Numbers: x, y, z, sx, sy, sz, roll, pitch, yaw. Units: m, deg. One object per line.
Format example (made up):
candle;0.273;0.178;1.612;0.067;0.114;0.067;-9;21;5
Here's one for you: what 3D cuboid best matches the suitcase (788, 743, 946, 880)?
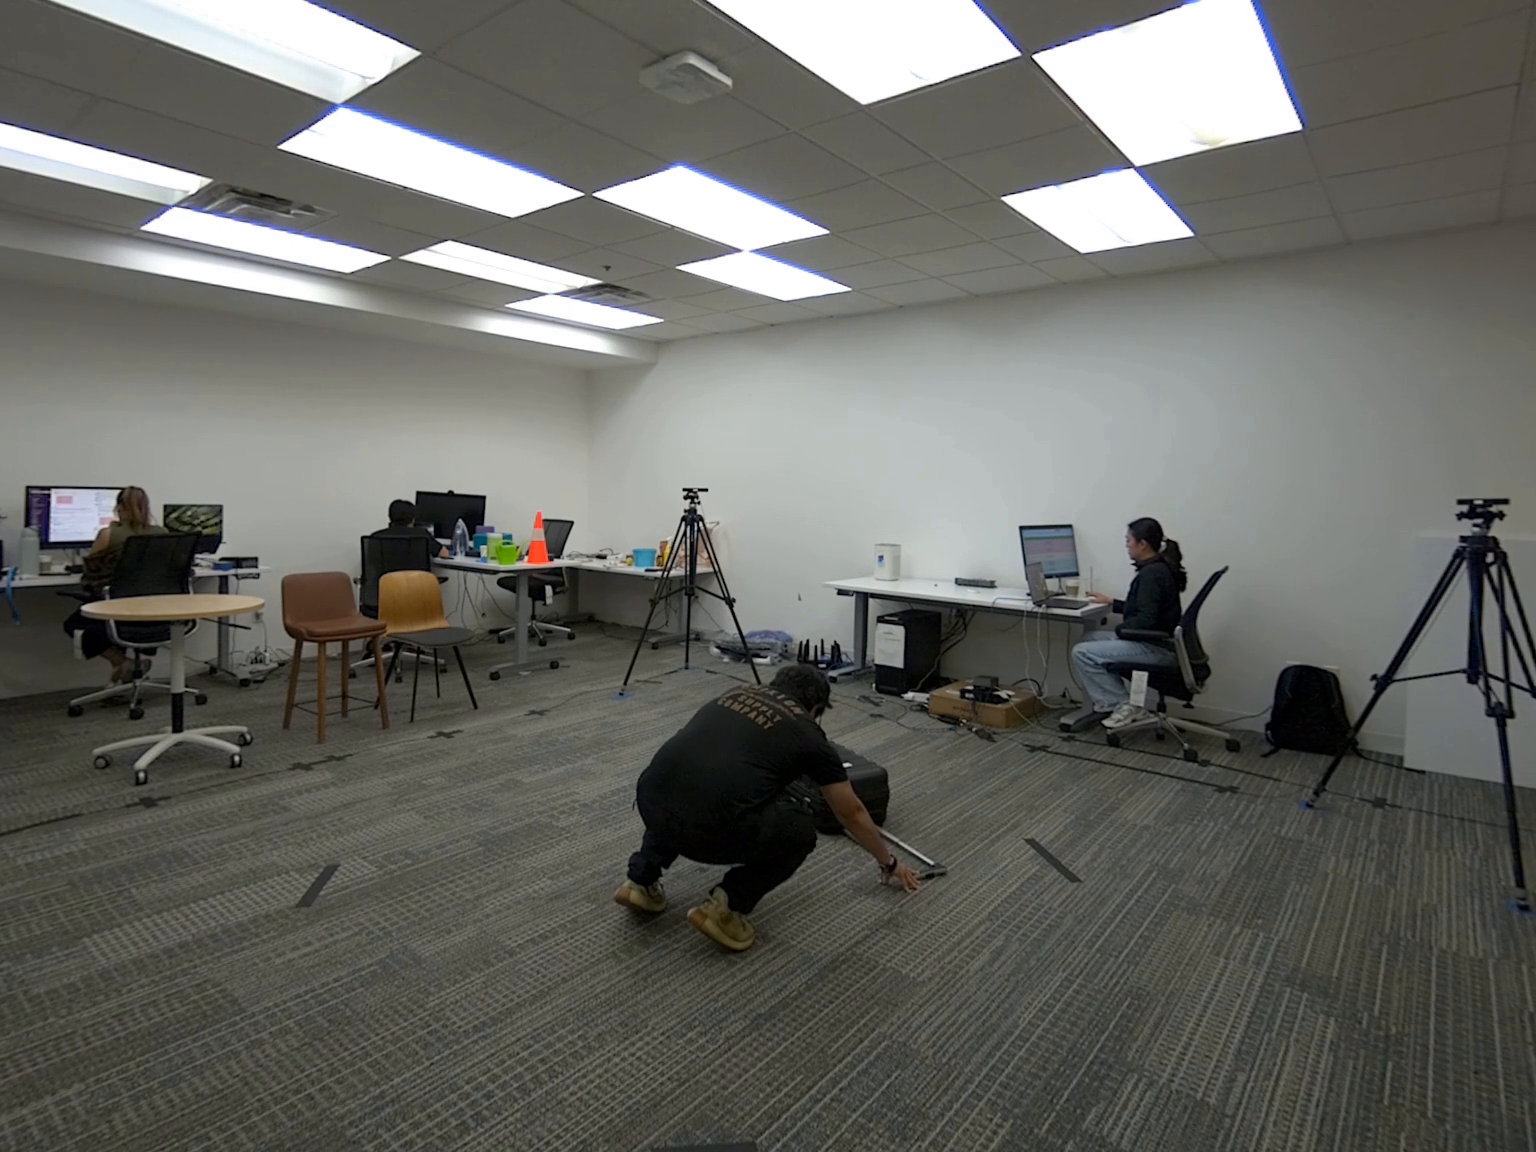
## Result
suitcase;0.341;0.912;3.521;0.374;0.256;1.007;0;4;-29
